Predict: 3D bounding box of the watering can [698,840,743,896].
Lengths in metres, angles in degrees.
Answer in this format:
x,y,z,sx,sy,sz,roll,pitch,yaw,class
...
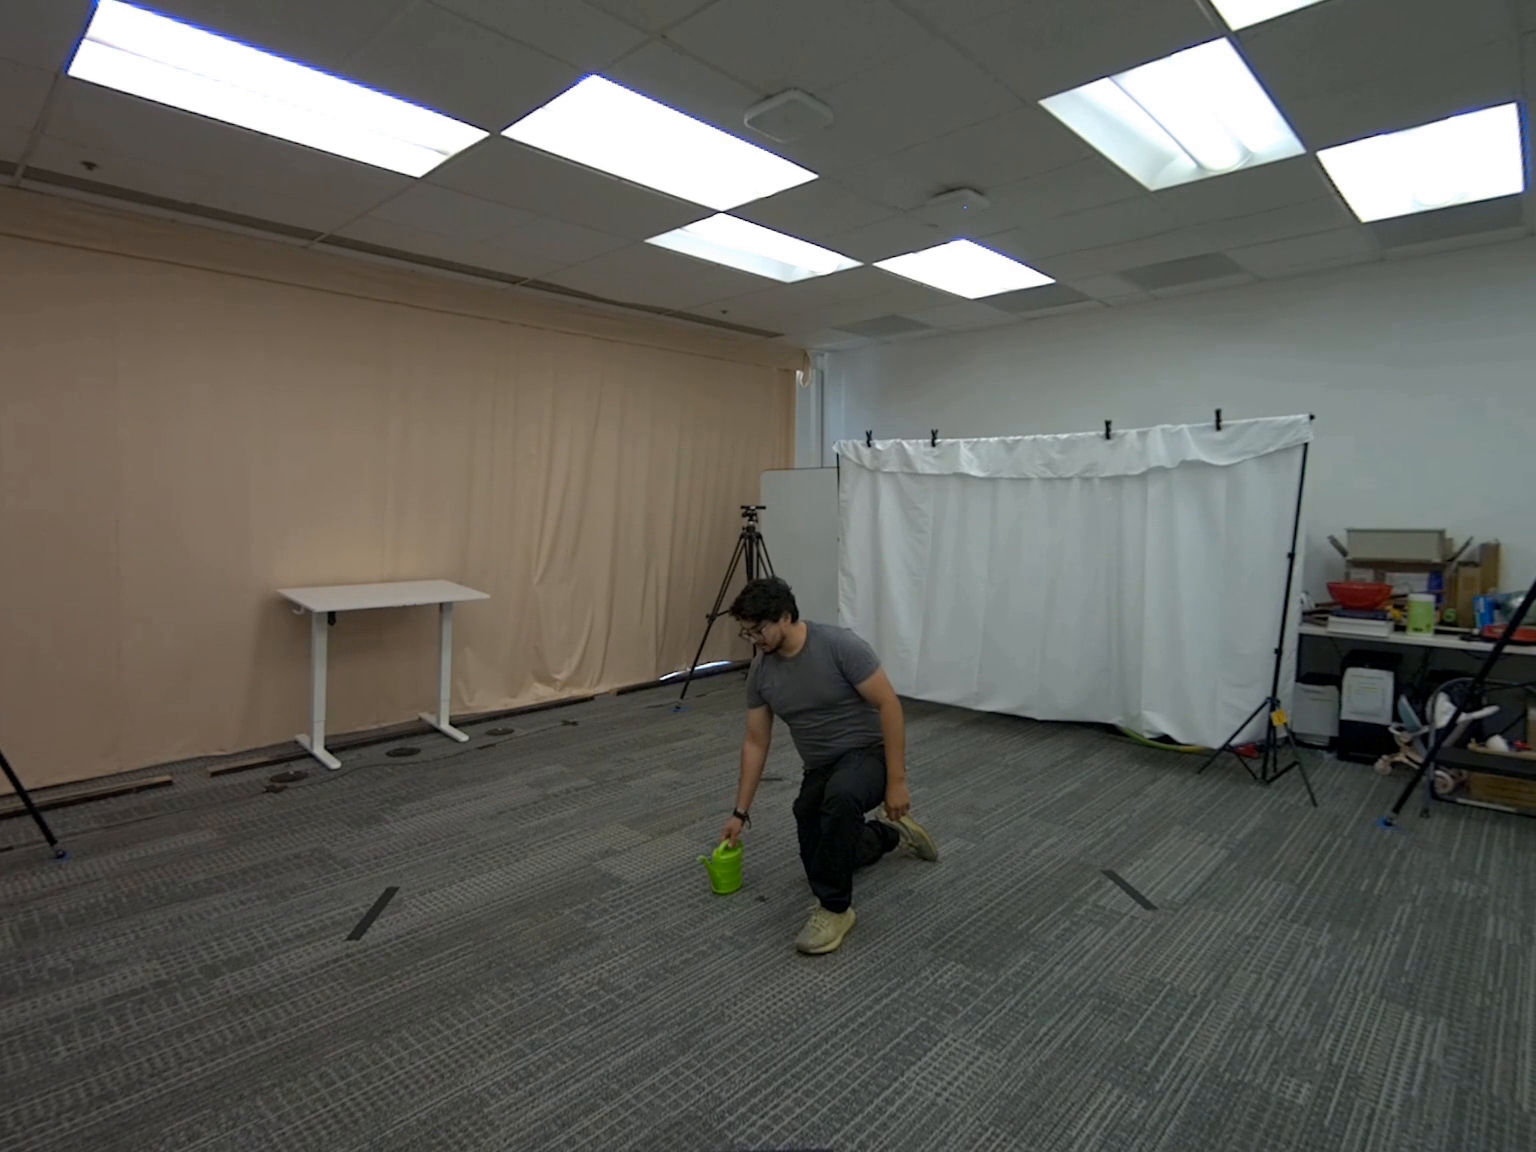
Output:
x,y,z,sx,sy,sz,roll,pitch,yaw,class
-0.175,1.056,3.040,0.269,0.176,0.101,-2,4,-44,watering can
